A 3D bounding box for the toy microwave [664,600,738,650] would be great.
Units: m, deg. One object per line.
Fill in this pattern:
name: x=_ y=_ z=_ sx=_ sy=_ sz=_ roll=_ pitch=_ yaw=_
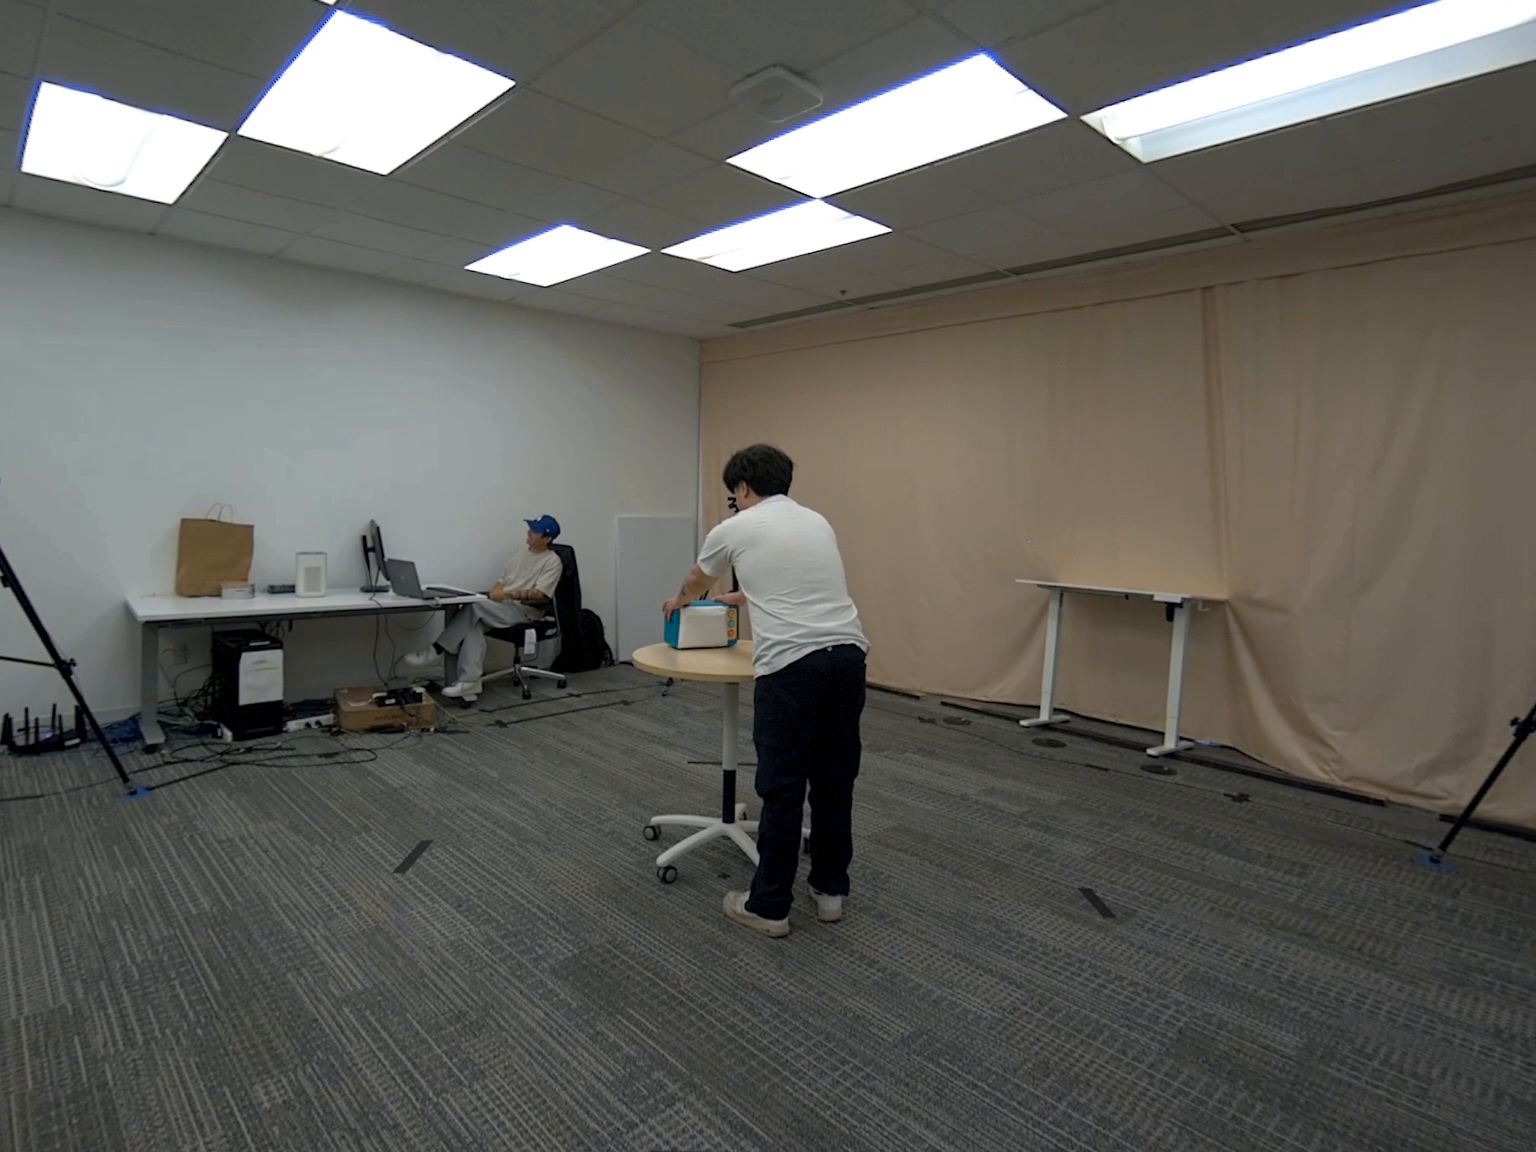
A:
toy microwave: x=-0.274 y=0.196 z=3.412 sx=0.281 sy=0.184 sz=0.156 roll=0 pitch=4 yaw=-27
